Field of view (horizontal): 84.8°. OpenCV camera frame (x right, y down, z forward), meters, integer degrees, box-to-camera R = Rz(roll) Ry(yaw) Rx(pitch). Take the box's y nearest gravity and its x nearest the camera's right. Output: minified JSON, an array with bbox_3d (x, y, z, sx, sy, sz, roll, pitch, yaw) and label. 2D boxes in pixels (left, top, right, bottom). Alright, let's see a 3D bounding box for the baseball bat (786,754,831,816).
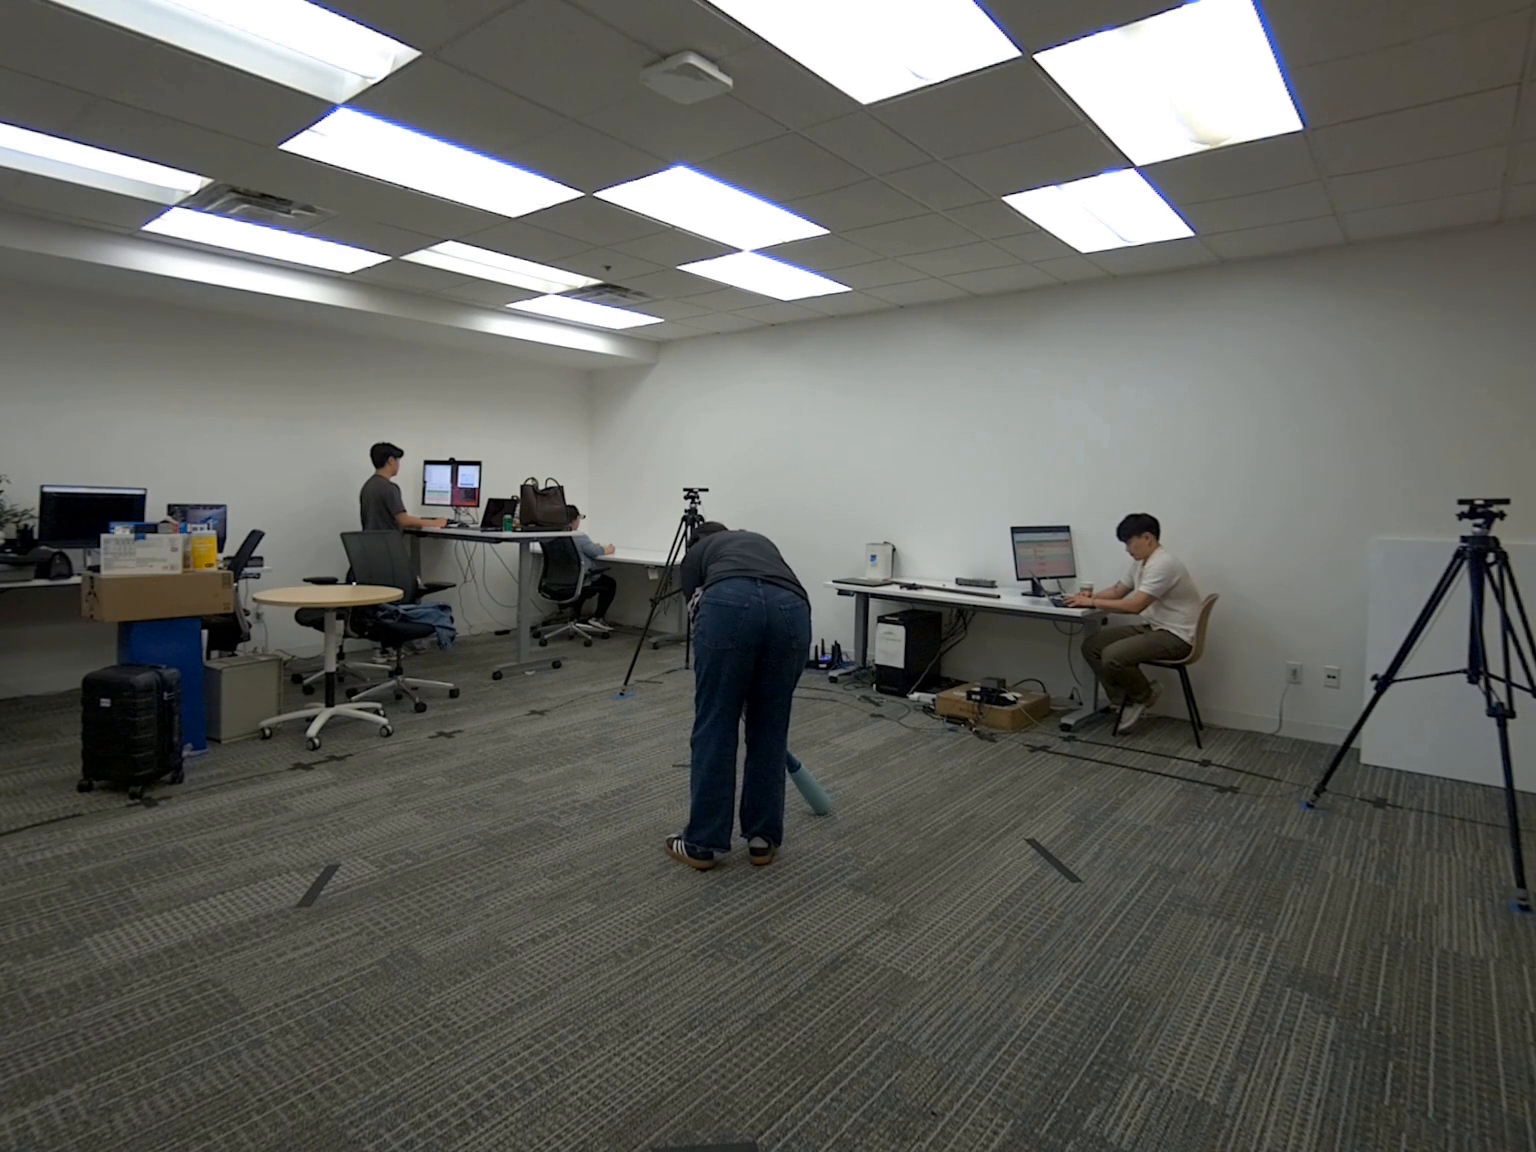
[{"bbox_3d":[0.086,0.800,3.615,0.089,0.530,0.091,-31,18,10],"label":"baseball bat"}]
